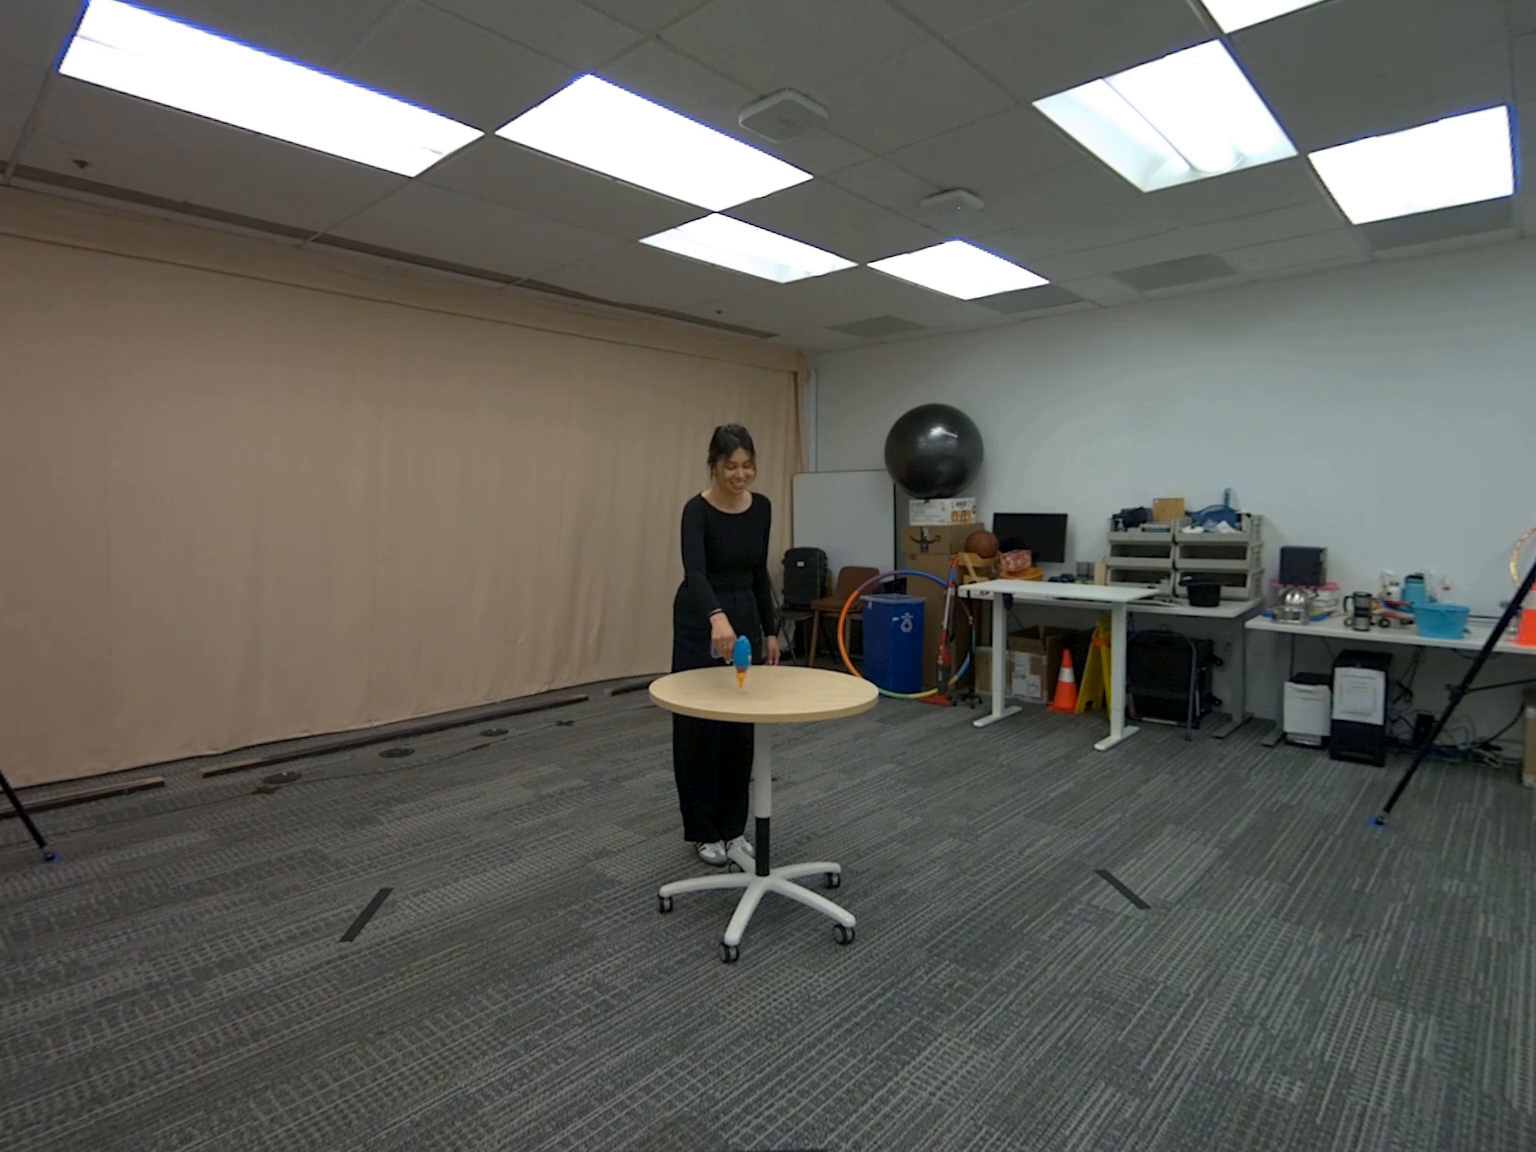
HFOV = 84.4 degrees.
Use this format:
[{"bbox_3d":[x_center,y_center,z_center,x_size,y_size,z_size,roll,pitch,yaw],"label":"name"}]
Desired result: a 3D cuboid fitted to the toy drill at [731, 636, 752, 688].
[{"bbox_3d":[-0.105,0.272,2.717,0.151,0.169,0.059,3,5,41],"label":"toy drill"}]
